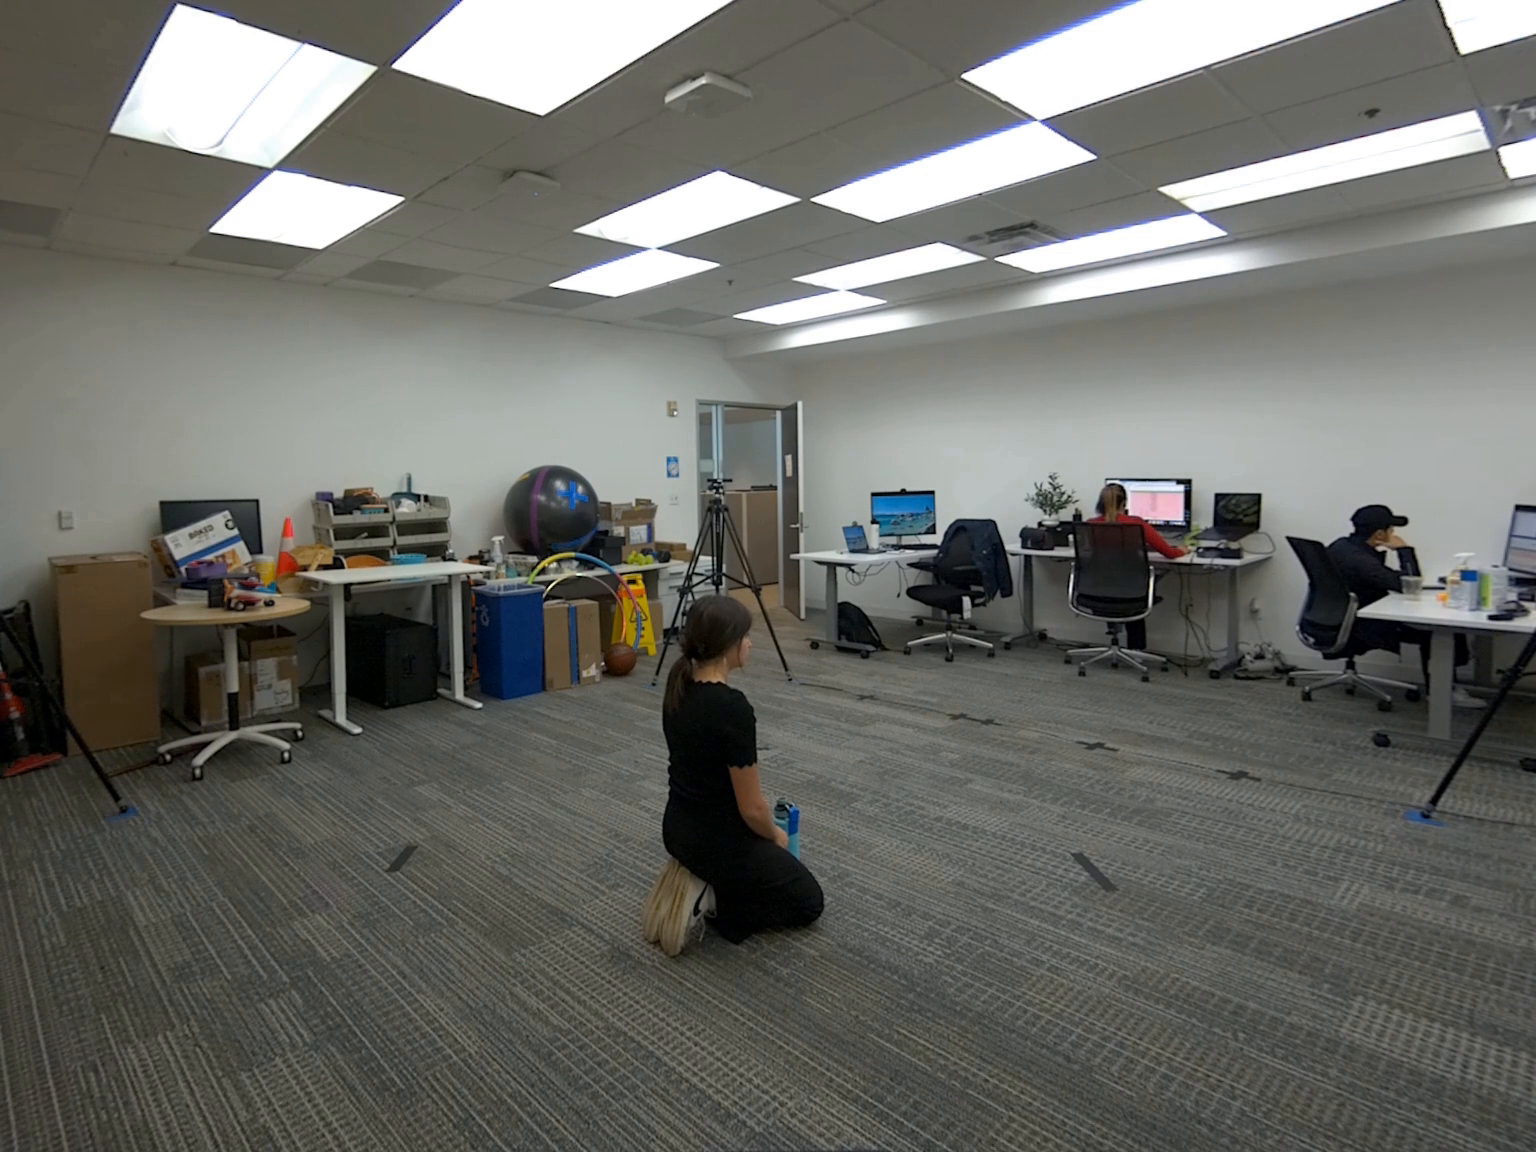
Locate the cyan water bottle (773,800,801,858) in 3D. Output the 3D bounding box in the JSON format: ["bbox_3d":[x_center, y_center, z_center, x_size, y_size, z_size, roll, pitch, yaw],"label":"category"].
[{"bbox_3d":[0.067,0.920,2.964,0.092,0.282,0.093,-1,5,-2],"label":"cyan water bottle"}]
